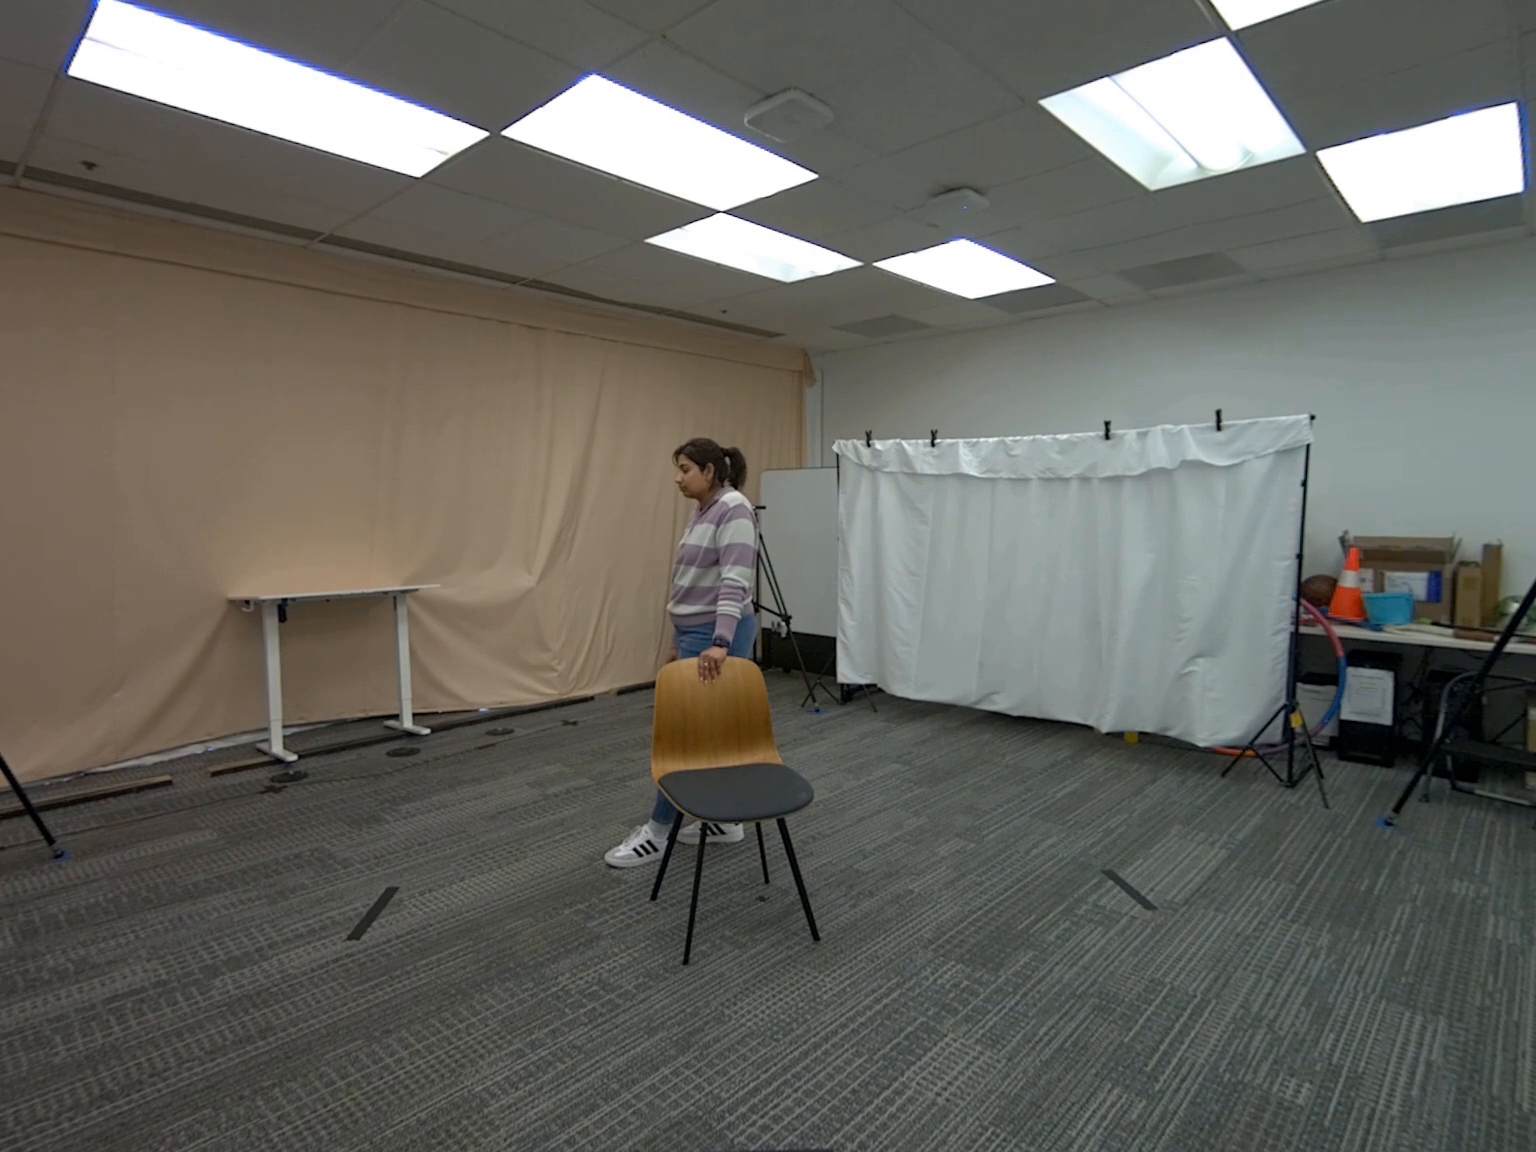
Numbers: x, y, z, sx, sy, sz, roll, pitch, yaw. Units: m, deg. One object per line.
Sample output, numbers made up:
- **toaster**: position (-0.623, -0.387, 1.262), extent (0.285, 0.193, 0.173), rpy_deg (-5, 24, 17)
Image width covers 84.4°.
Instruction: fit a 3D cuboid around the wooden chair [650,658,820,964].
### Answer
- **wooden chair**: position (-0.117, 0.731, 2.796), extent (0.469, 0.878, 0.533), rpy_deg (-1, -1, -20)
